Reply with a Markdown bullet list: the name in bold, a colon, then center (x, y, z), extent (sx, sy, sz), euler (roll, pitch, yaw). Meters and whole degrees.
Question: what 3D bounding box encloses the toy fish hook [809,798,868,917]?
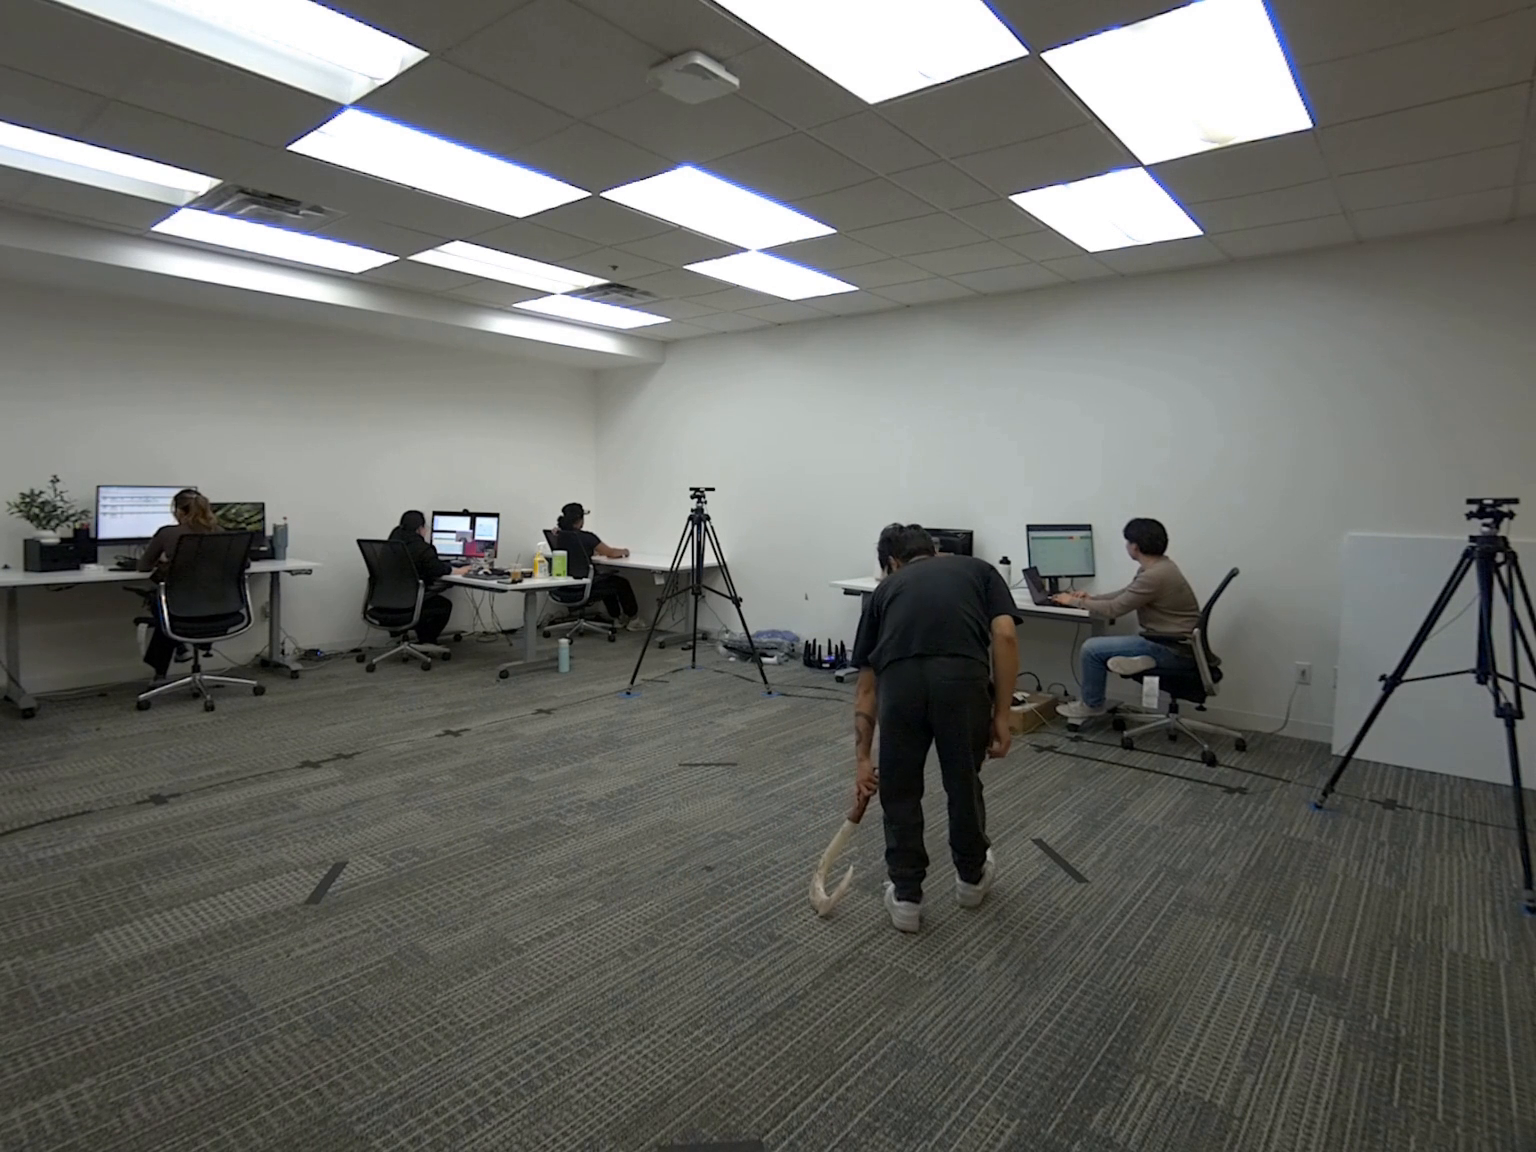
- **toy fish hook**: center (0.272, 0.882, 2.837), extent (0.047, 0.507, 0.229), euler (28, -5, -19)
